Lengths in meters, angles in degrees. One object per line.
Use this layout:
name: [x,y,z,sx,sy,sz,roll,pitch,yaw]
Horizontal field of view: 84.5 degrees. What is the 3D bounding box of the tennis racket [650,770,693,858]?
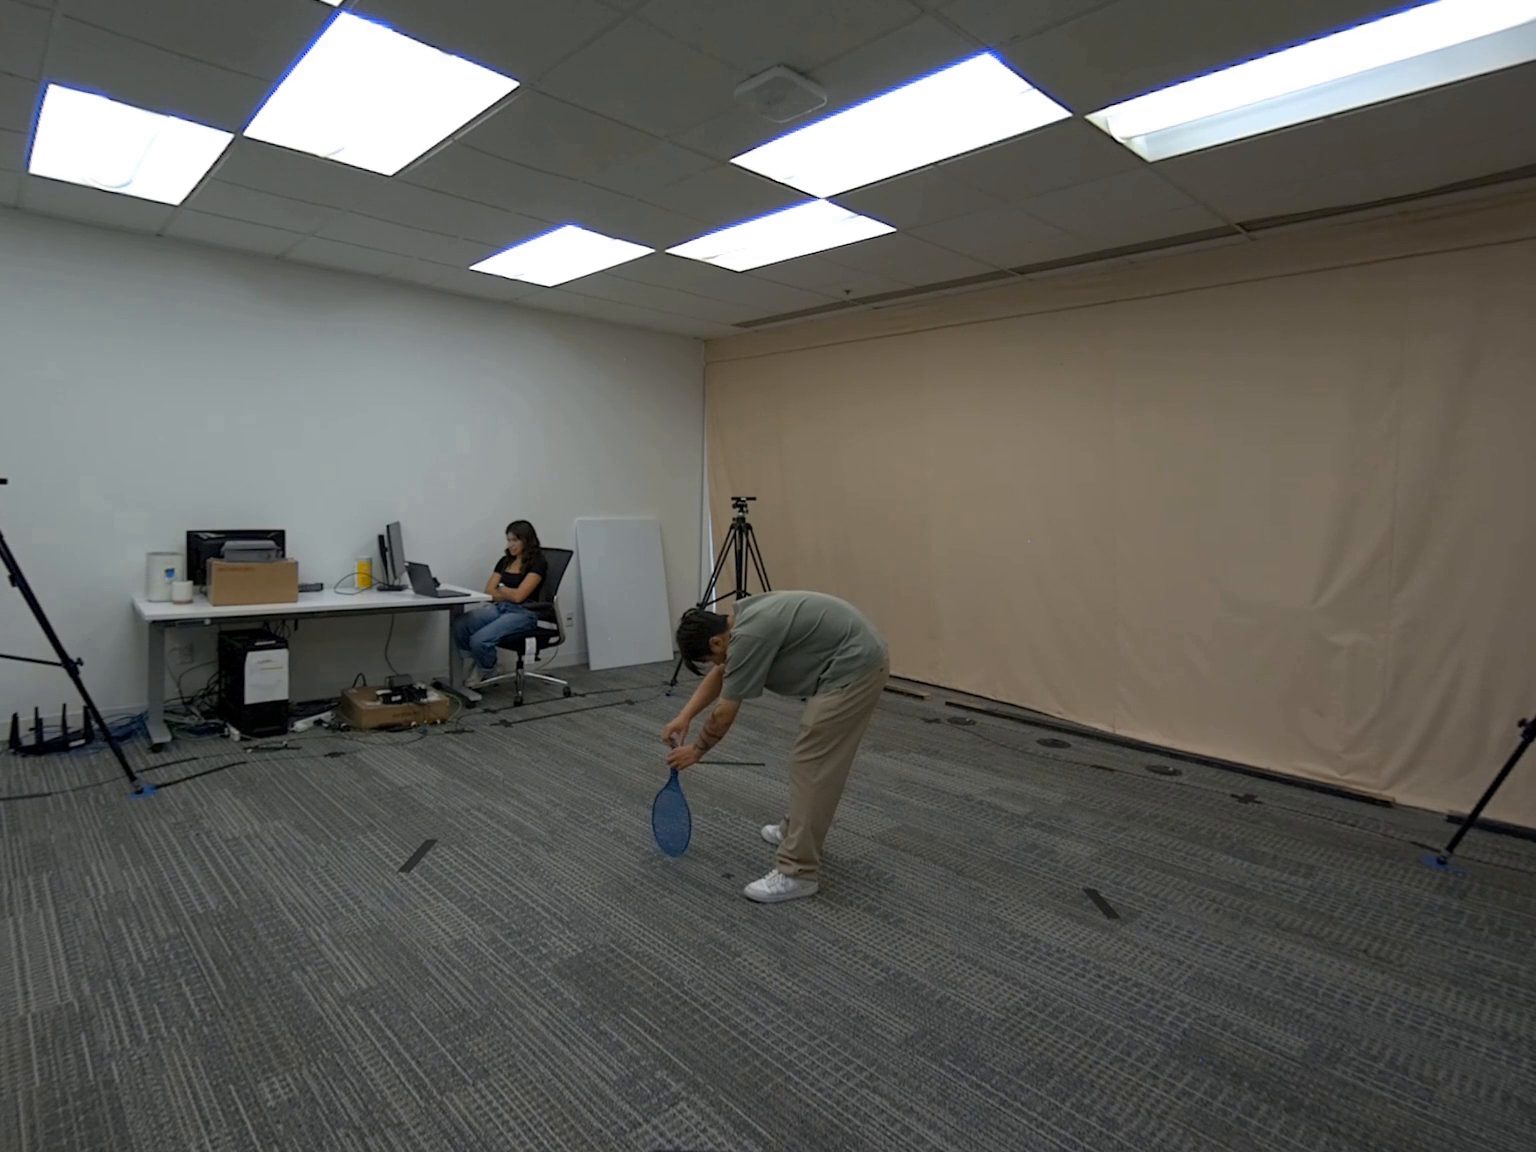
tennis racket: [-0.379,0.869,3.266,0.219,0.433,0.031,0,-1,41]
